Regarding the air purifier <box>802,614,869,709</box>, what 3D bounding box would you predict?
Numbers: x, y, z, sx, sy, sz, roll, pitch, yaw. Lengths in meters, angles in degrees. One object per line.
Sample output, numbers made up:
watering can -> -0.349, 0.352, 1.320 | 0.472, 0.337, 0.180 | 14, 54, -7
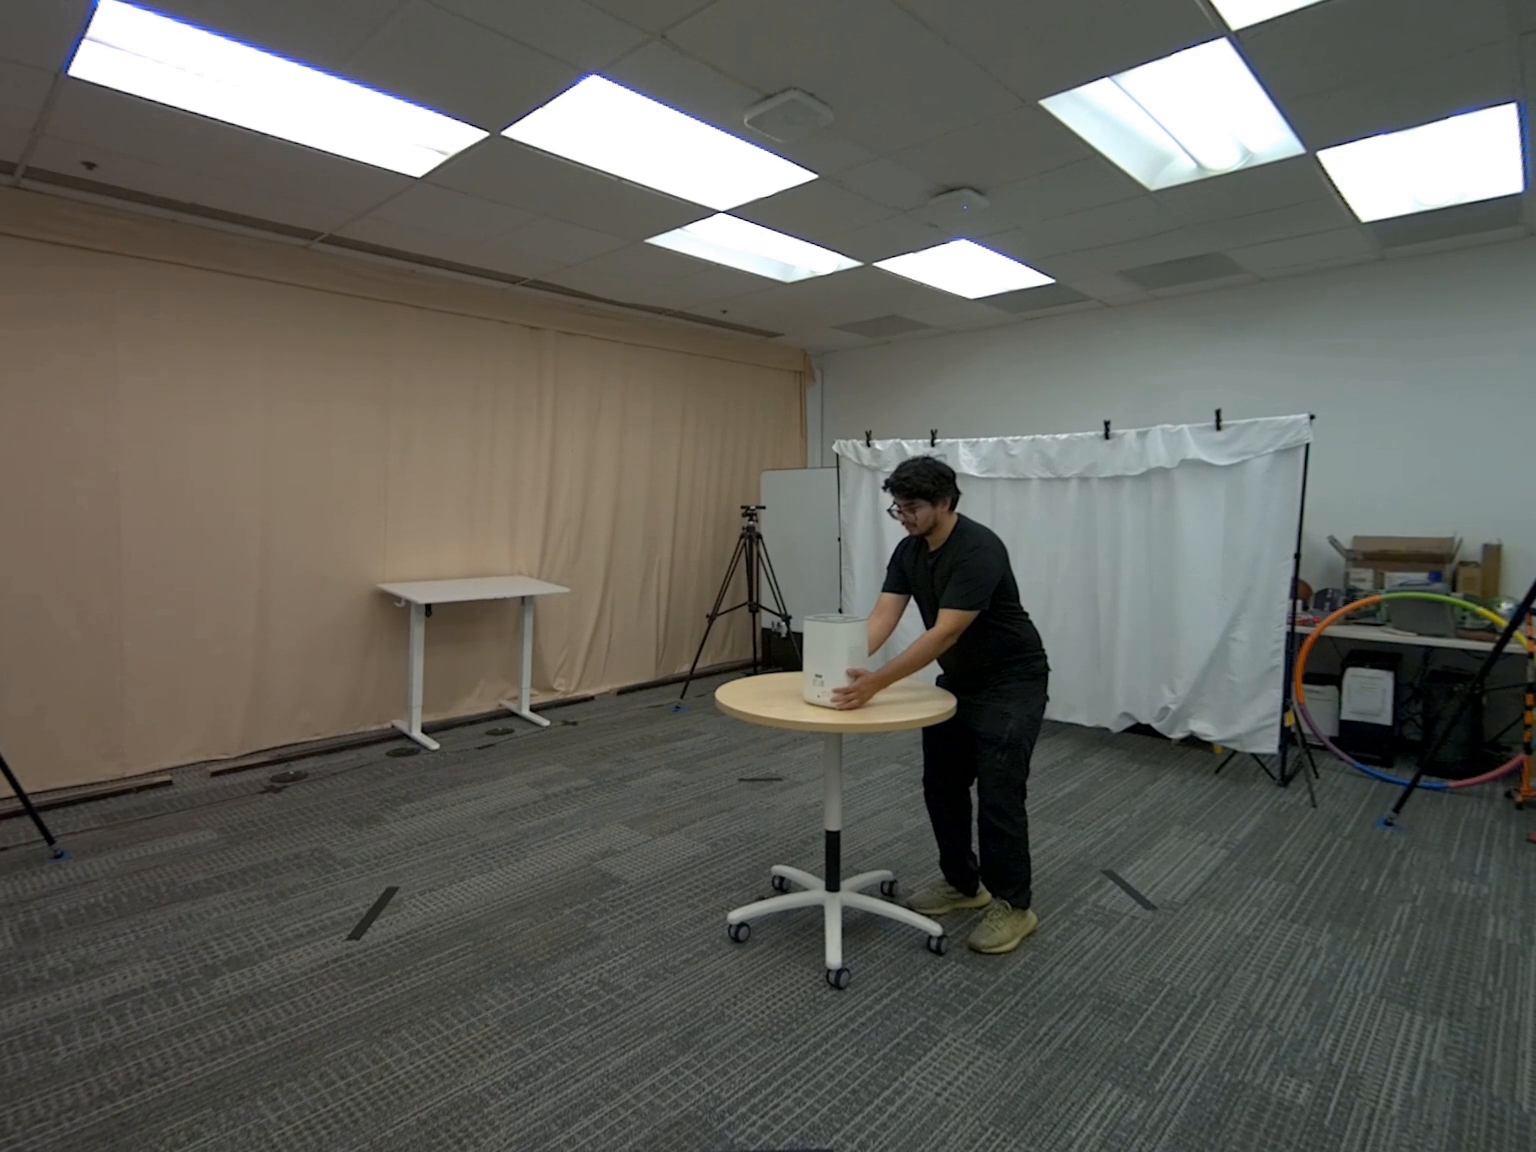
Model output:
air purifier -> 0.216, 0.260, 2.578 | 0.176, 0.264, 0.166 | 3, 6, 37
